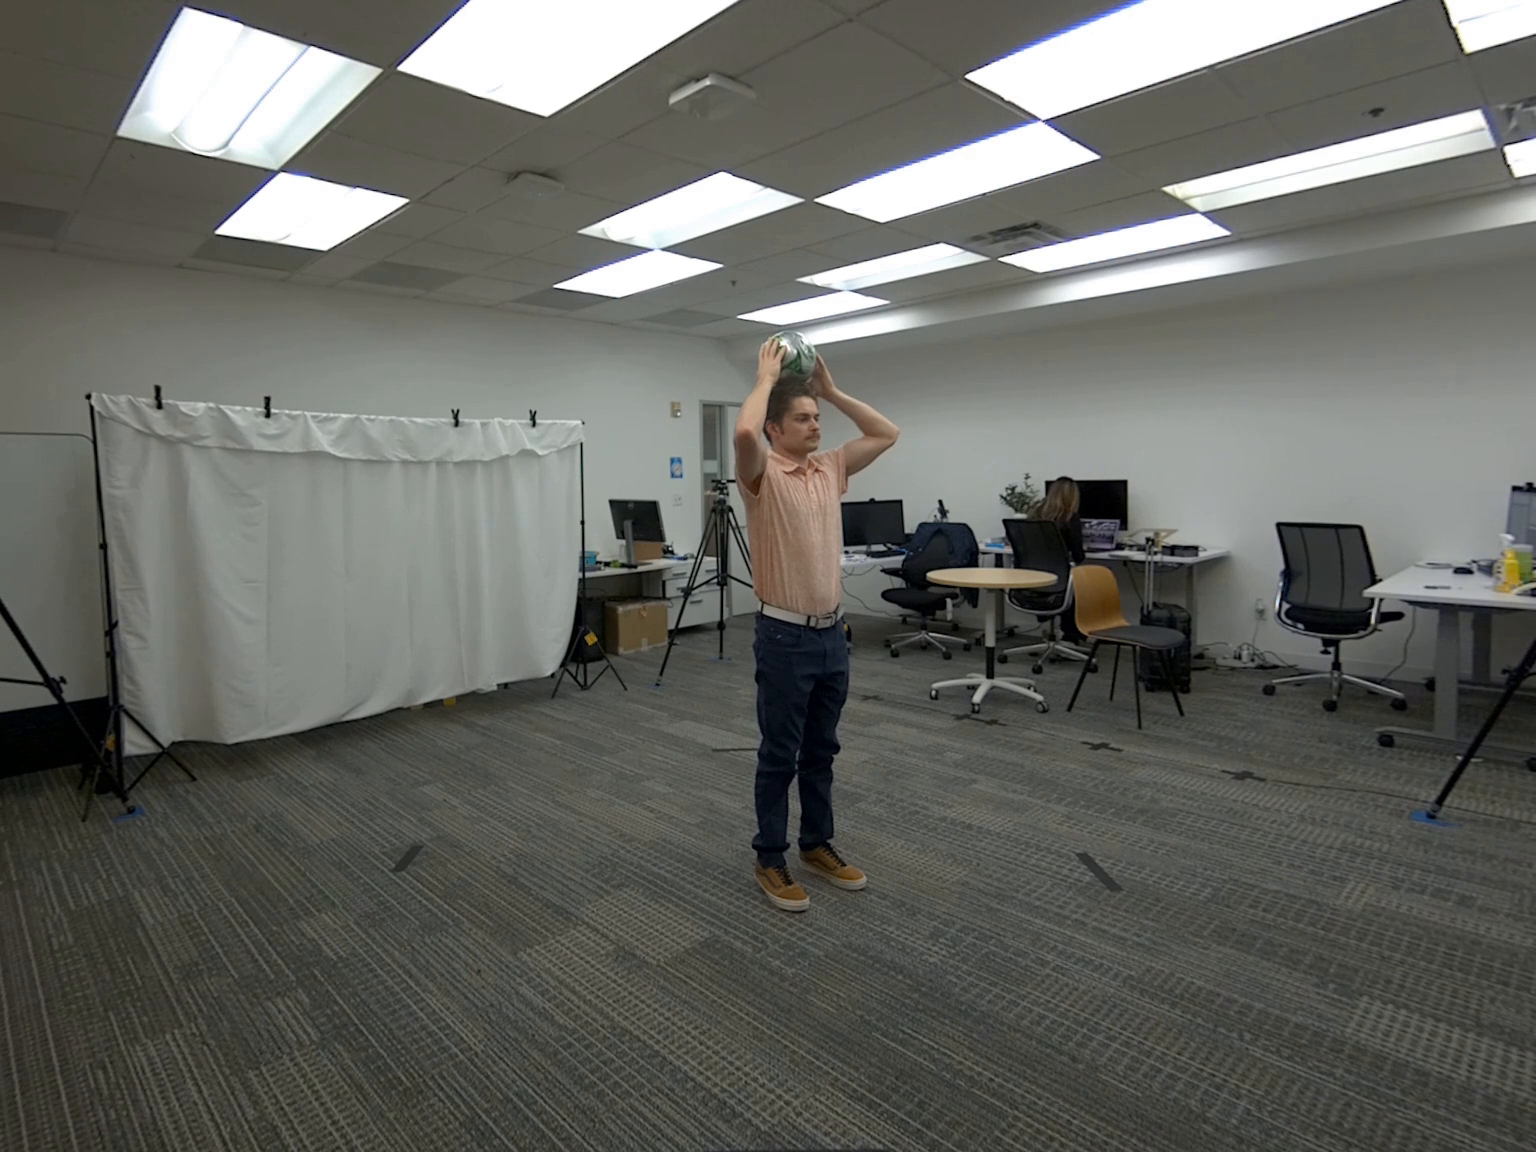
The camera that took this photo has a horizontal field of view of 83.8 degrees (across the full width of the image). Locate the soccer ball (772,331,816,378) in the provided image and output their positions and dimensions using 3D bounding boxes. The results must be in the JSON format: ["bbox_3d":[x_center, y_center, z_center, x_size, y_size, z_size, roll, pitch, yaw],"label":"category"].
[{"bbox_3d":[0.071,-0.721,2.877,0.187,0.187,0.188,-1,5,-2],"label":"soccer ball"}]
